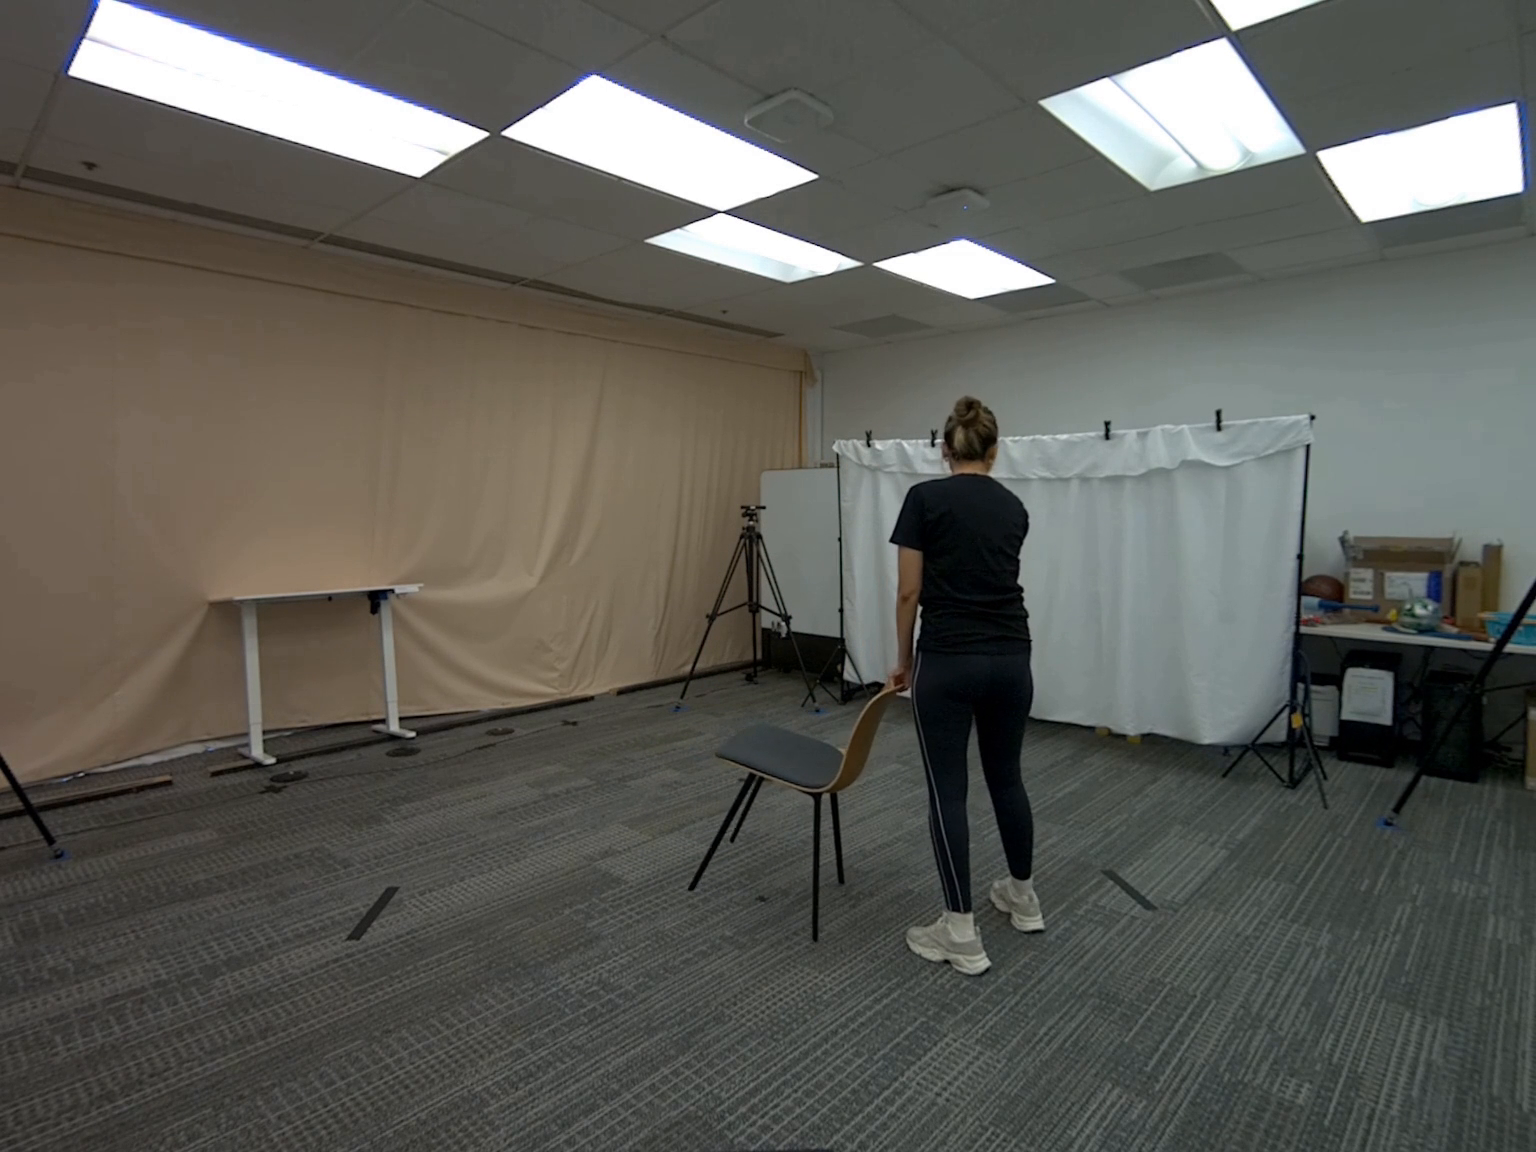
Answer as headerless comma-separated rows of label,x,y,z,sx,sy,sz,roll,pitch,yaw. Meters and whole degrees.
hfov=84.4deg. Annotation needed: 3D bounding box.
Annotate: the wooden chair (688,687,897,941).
wooden chair,0.095,0.682,2.904,0.534,0.875,0.469,19,9,17
